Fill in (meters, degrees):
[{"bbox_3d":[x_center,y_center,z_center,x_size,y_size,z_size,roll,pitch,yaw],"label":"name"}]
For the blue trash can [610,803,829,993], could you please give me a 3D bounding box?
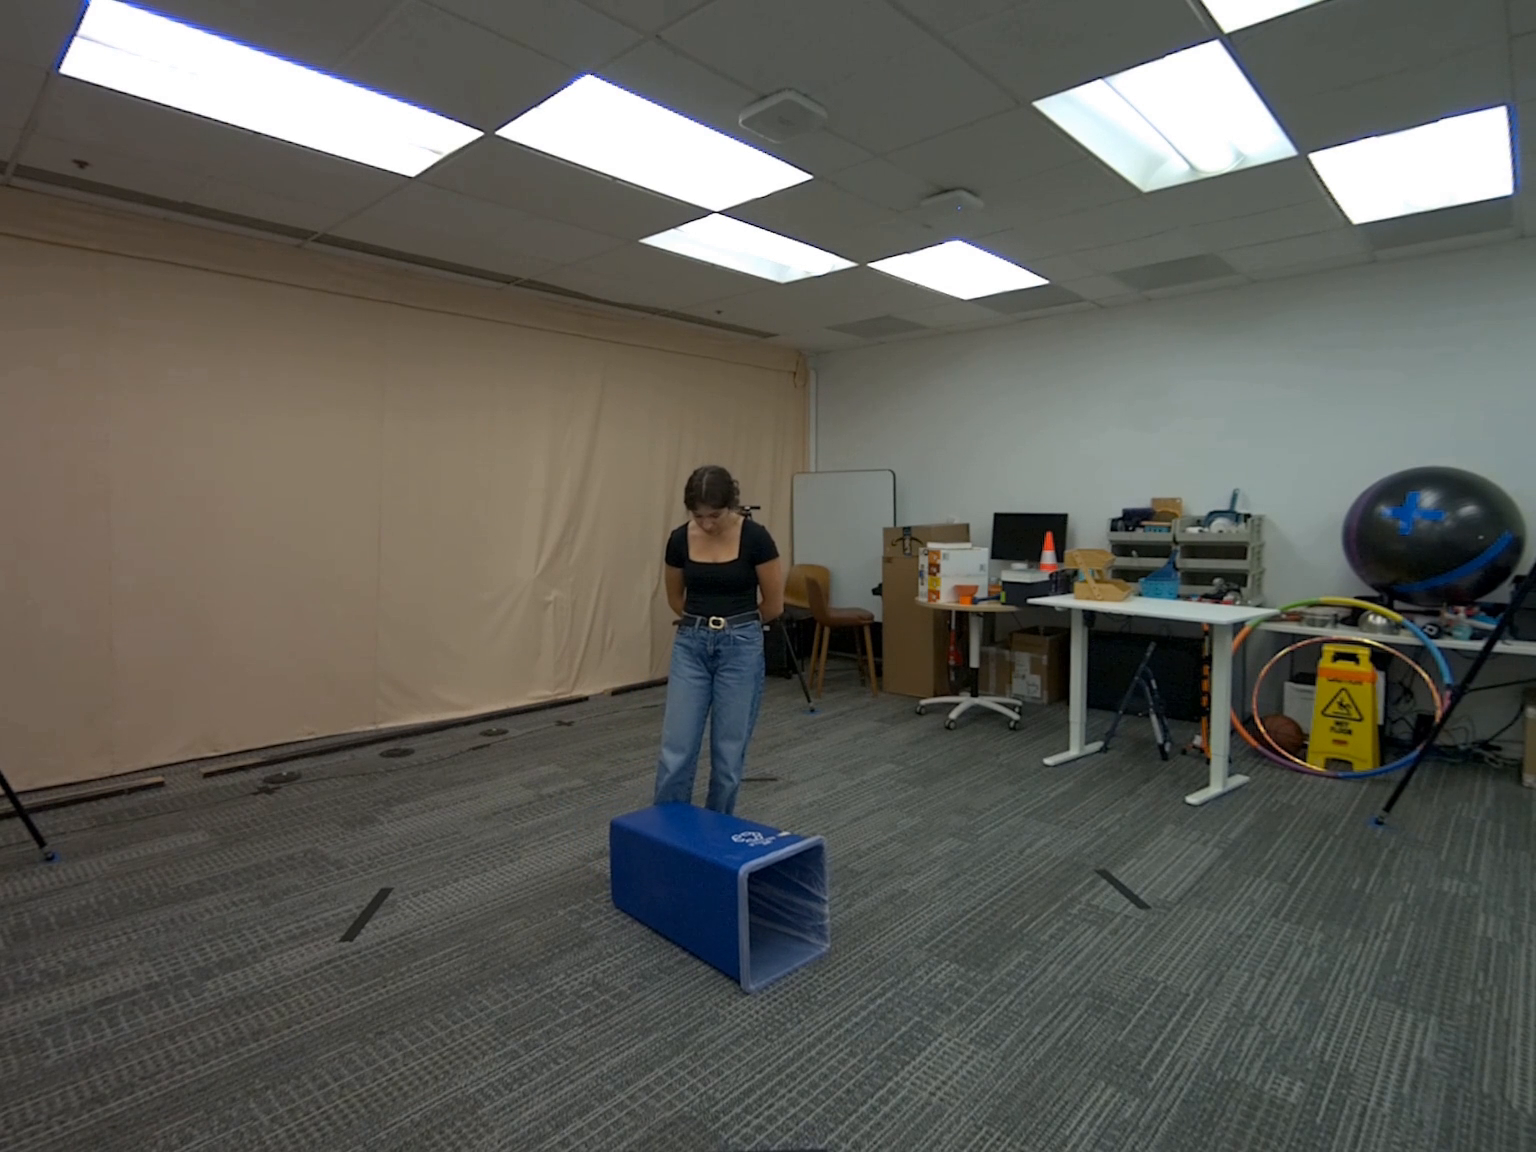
[{"bbox_3d":[-0.187,0.998,2.756,0.362,0.378,0.736,-4,3,-45],"label":"blue trash can"}]
